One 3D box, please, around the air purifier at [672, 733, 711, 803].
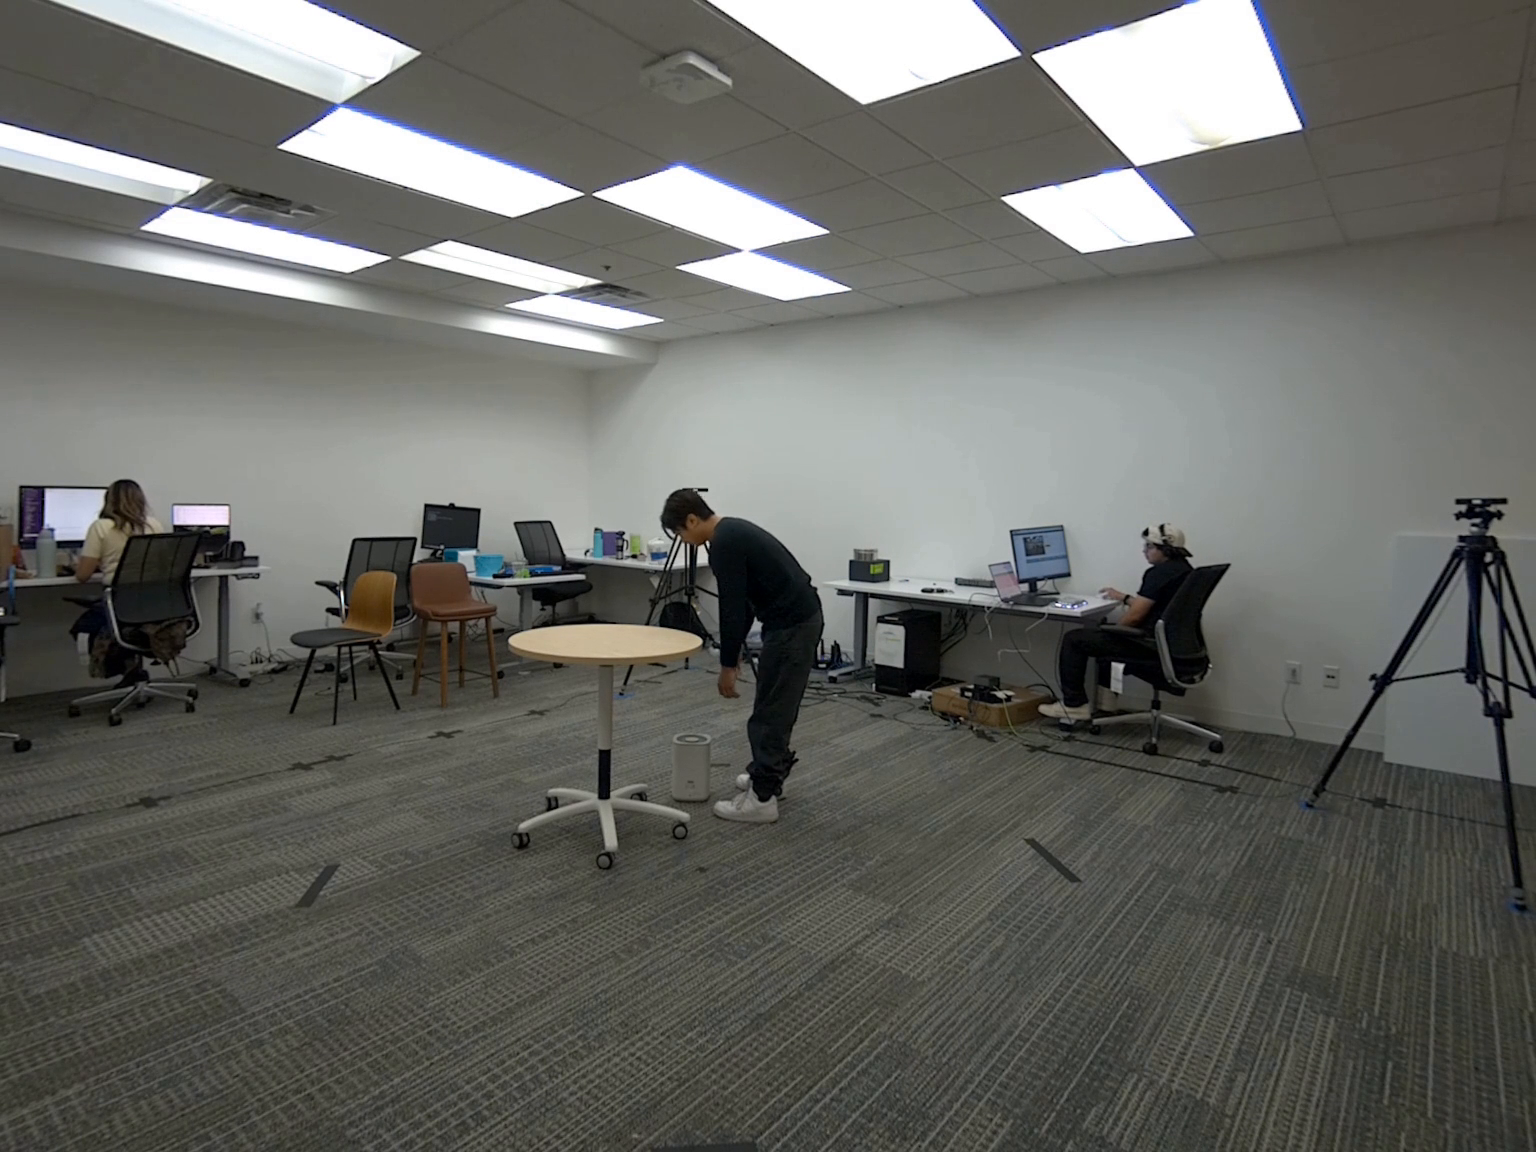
[{"bbox_3d":[-0.361,0.865,3.847,0.171,0.265,0.172,0,3,-1],"label":"air purifier"}]
